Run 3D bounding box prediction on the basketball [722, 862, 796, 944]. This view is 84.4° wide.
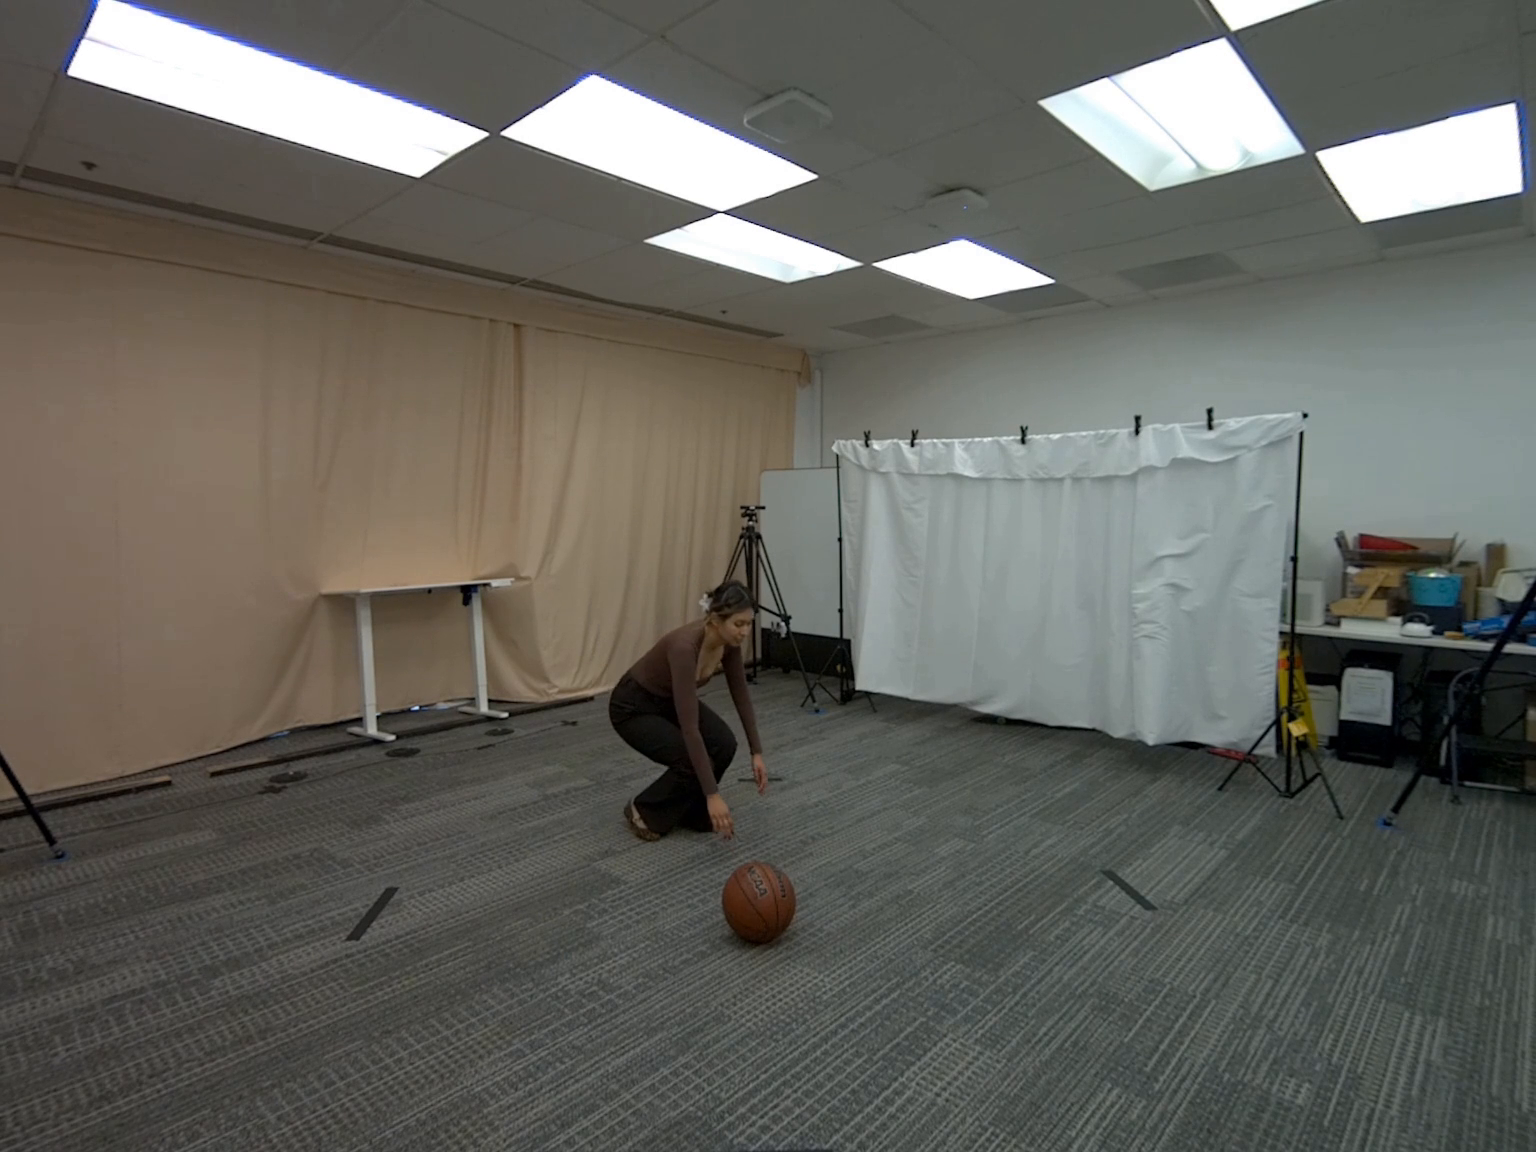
[{"bbox_3d":[-0.023,1.046,2.711,0.236,0.235,0.237,0,4,-2],"label":"basketball"}]
